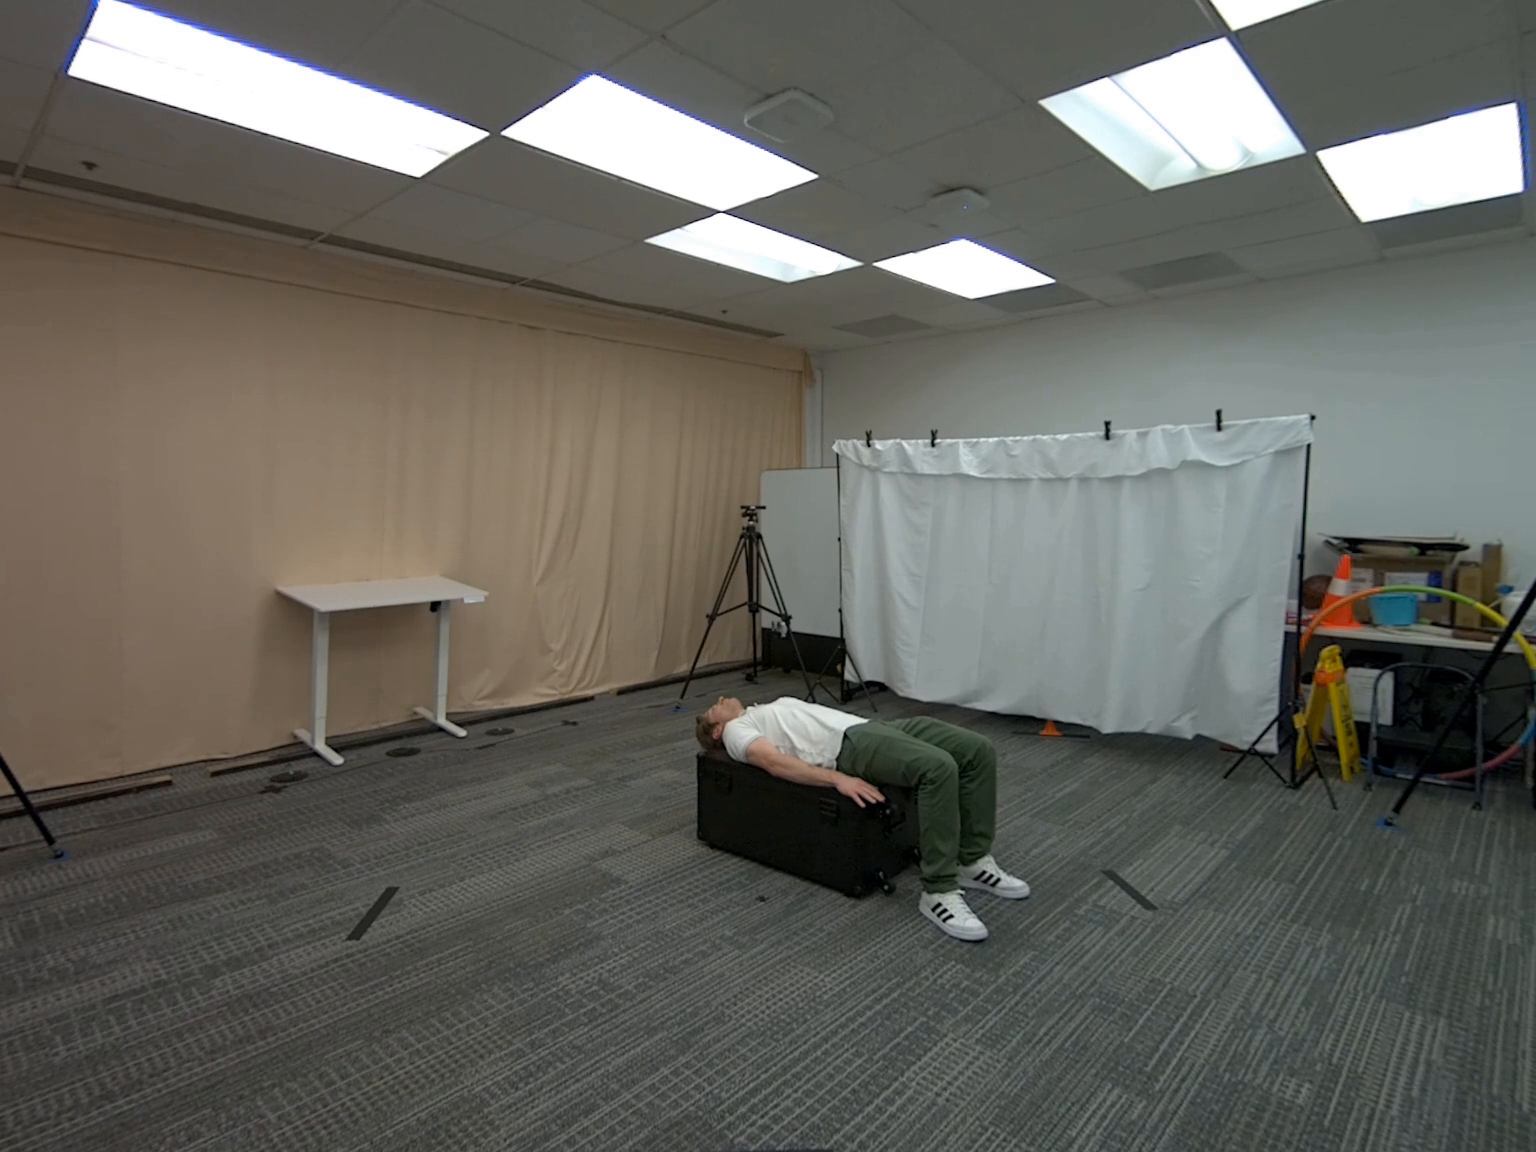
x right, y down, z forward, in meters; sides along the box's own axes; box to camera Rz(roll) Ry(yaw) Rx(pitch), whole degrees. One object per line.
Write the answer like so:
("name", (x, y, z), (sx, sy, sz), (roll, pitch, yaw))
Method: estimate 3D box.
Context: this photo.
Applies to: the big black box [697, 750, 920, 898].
("big black box", (0.191, 0.925, 3.347), (0.897, 0.384, 0.507), (5, 6, 39))
